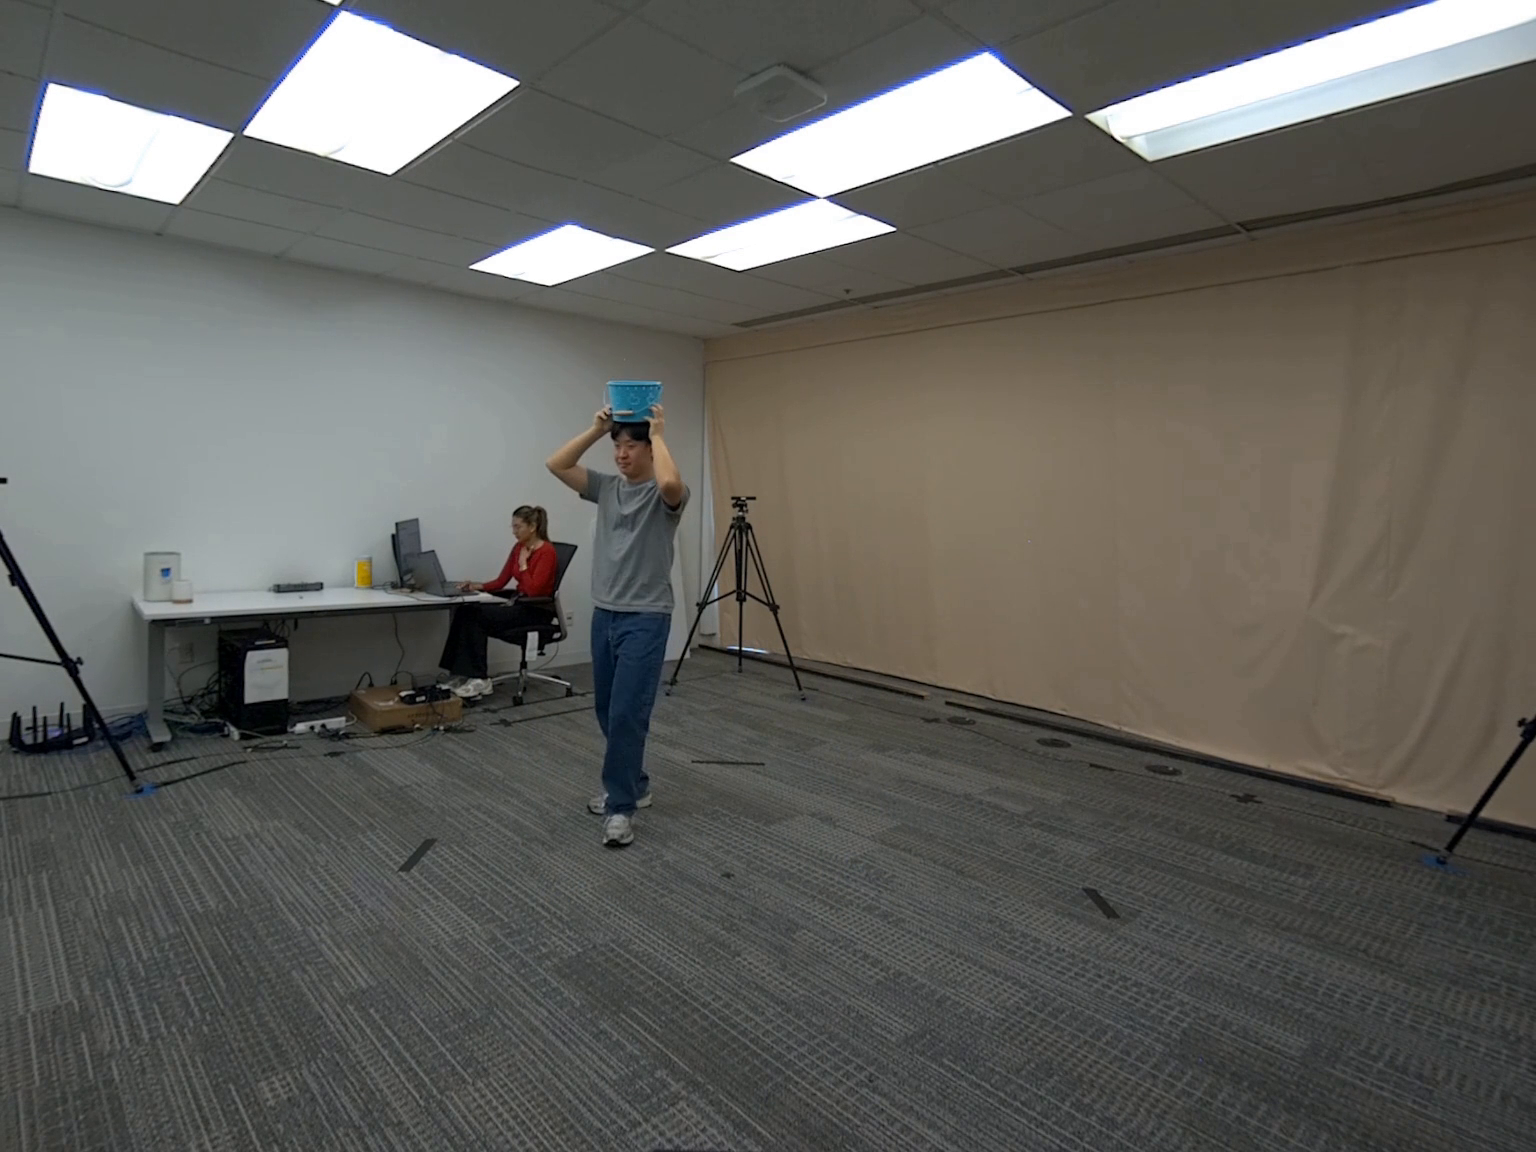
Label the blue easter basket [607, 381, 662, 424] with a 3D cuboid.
[{"bbox_3d":[-0.572,-0.726,3.496,0.243,0.154,0.246,1,15,-2],"label":"blue easter basket"}]
